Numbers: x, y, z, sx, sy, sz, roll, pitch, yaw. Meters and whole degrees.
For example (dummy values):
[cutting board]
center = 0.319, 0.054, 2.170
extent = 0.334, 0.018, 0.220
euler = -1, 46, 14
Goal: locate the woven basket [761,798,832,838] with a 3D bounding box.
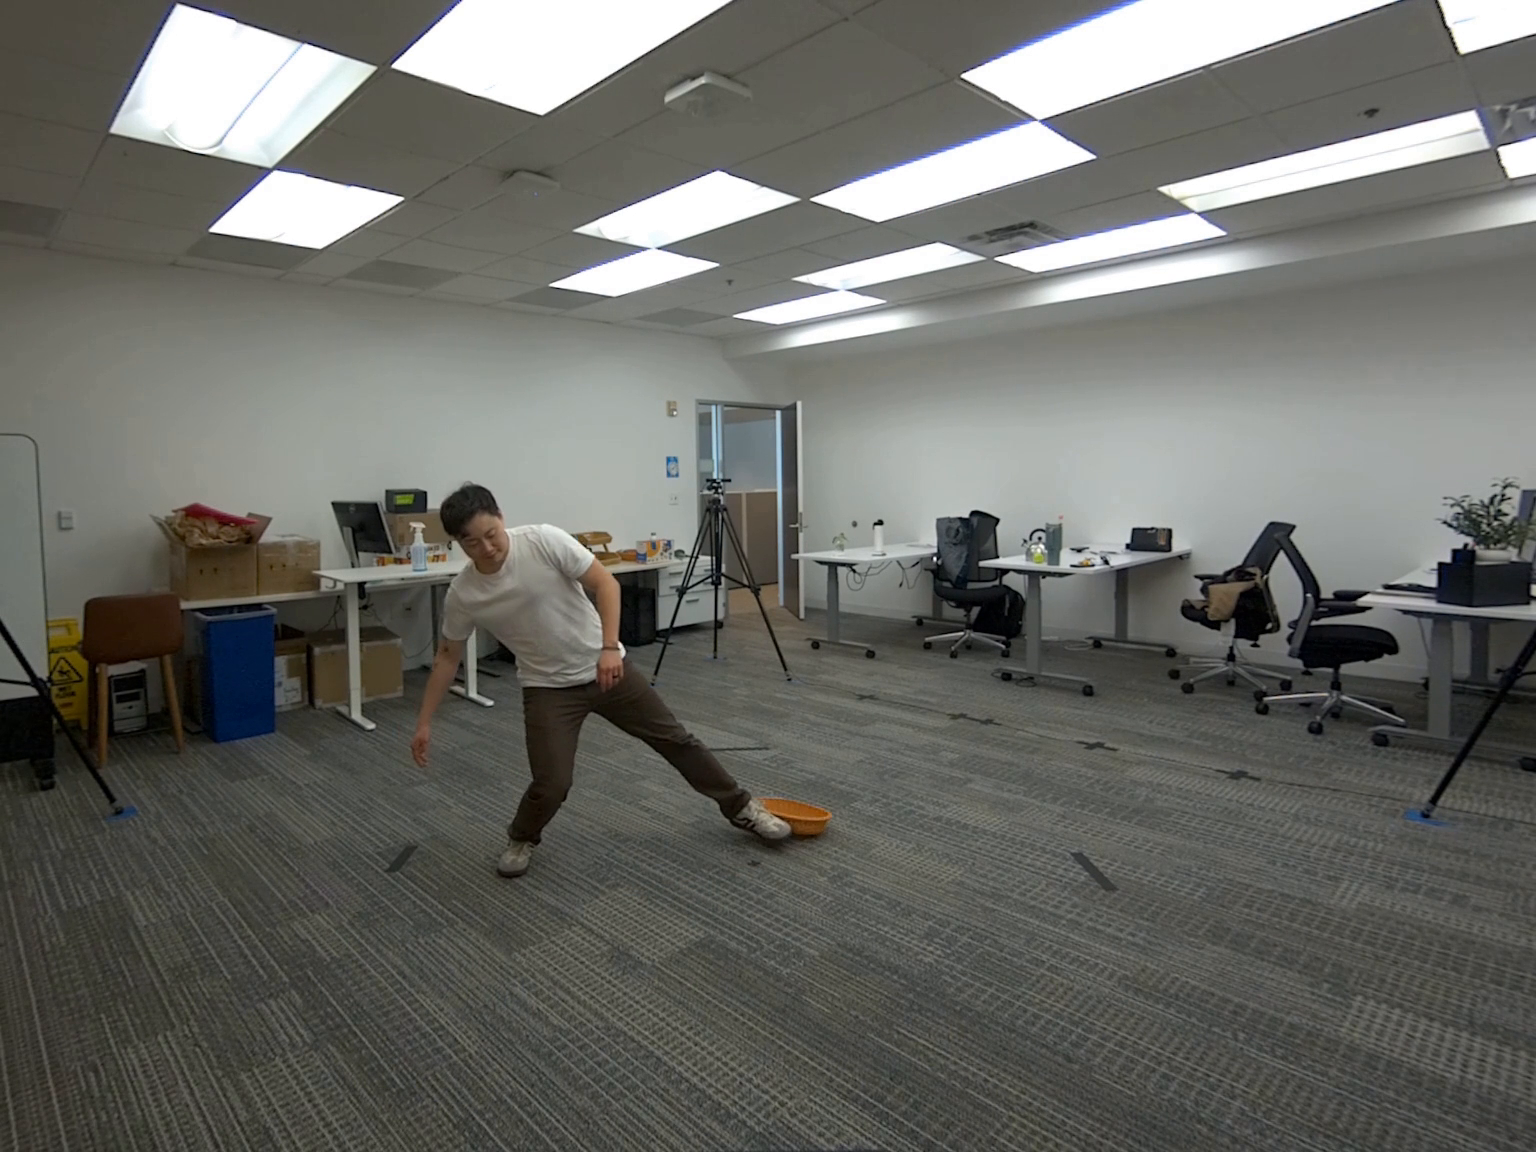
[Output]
[woven basket]
center = 0.090, 0.959, 3.401
extent = 0.361, 0.074, 0.244
euler = 2, -4, 42
